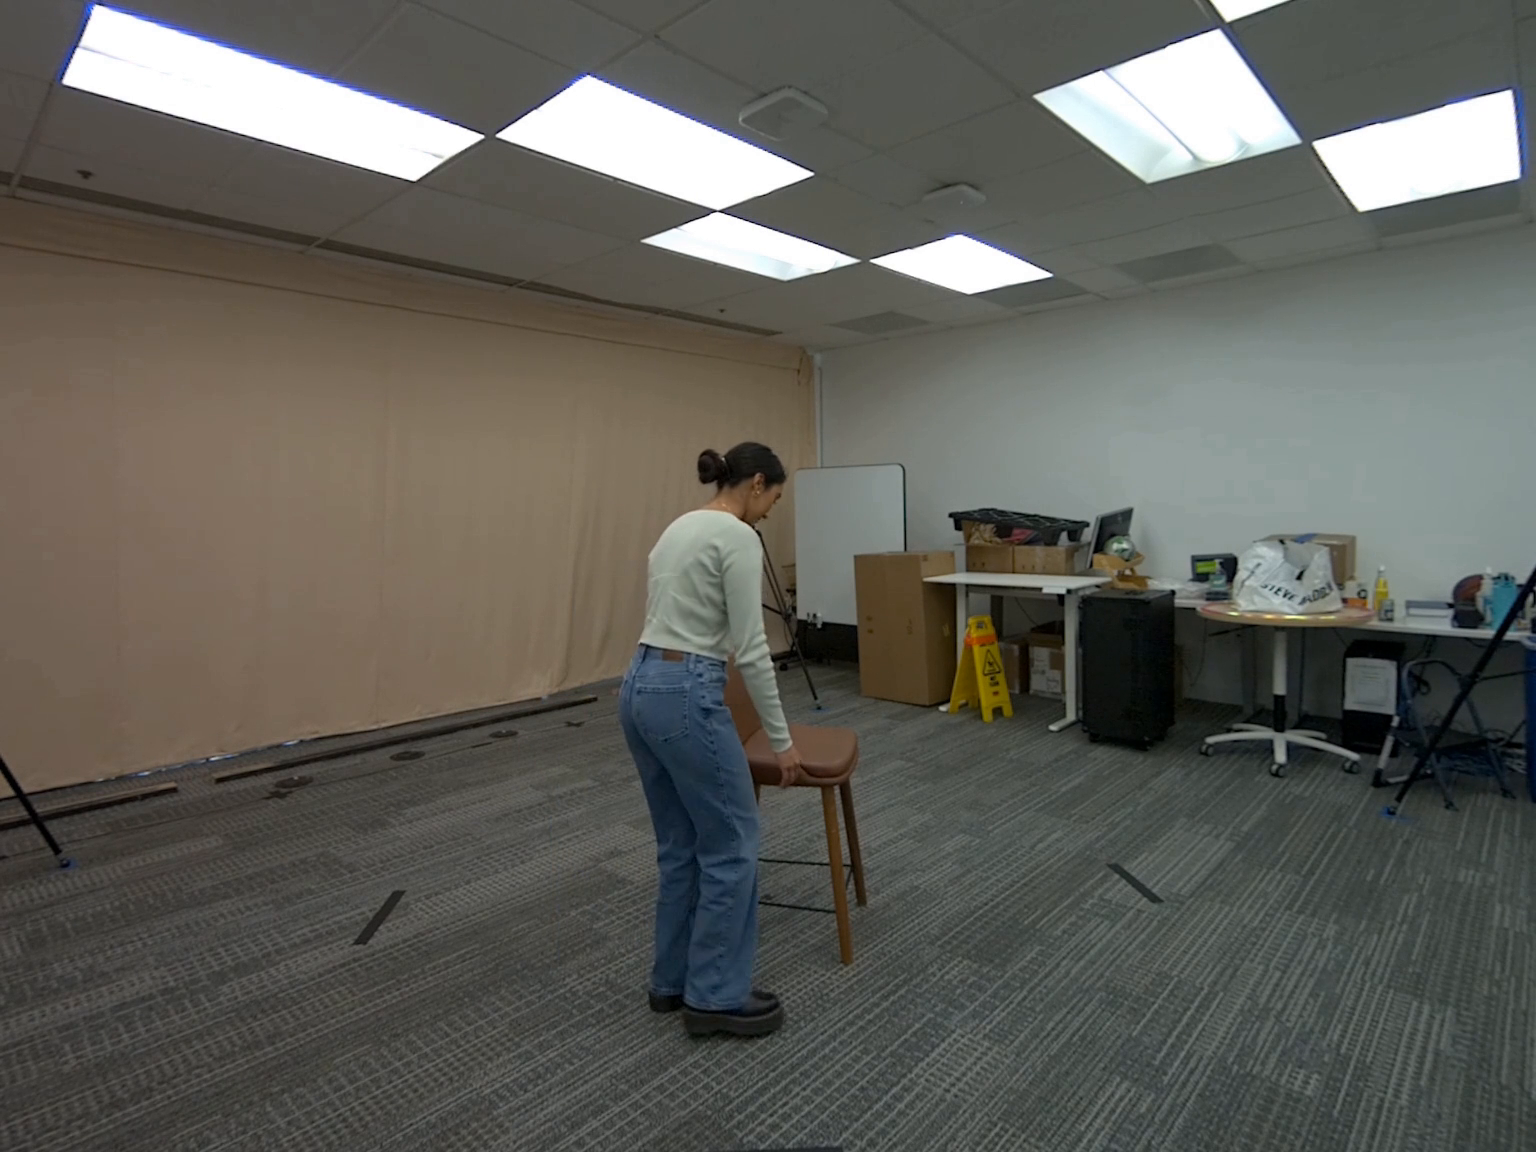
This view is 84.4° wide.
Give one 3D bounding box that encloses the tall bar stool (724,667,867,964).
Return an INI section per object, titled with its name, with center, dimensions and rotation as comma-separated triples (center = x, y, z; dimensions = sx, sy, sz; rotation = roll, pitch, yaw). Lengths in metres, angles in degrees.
[tall bar stool]
center = 0.072, 0.721, 2.768
dimensions = 0.476, 0.888, 0.449
rotation = -1, 3, 16
